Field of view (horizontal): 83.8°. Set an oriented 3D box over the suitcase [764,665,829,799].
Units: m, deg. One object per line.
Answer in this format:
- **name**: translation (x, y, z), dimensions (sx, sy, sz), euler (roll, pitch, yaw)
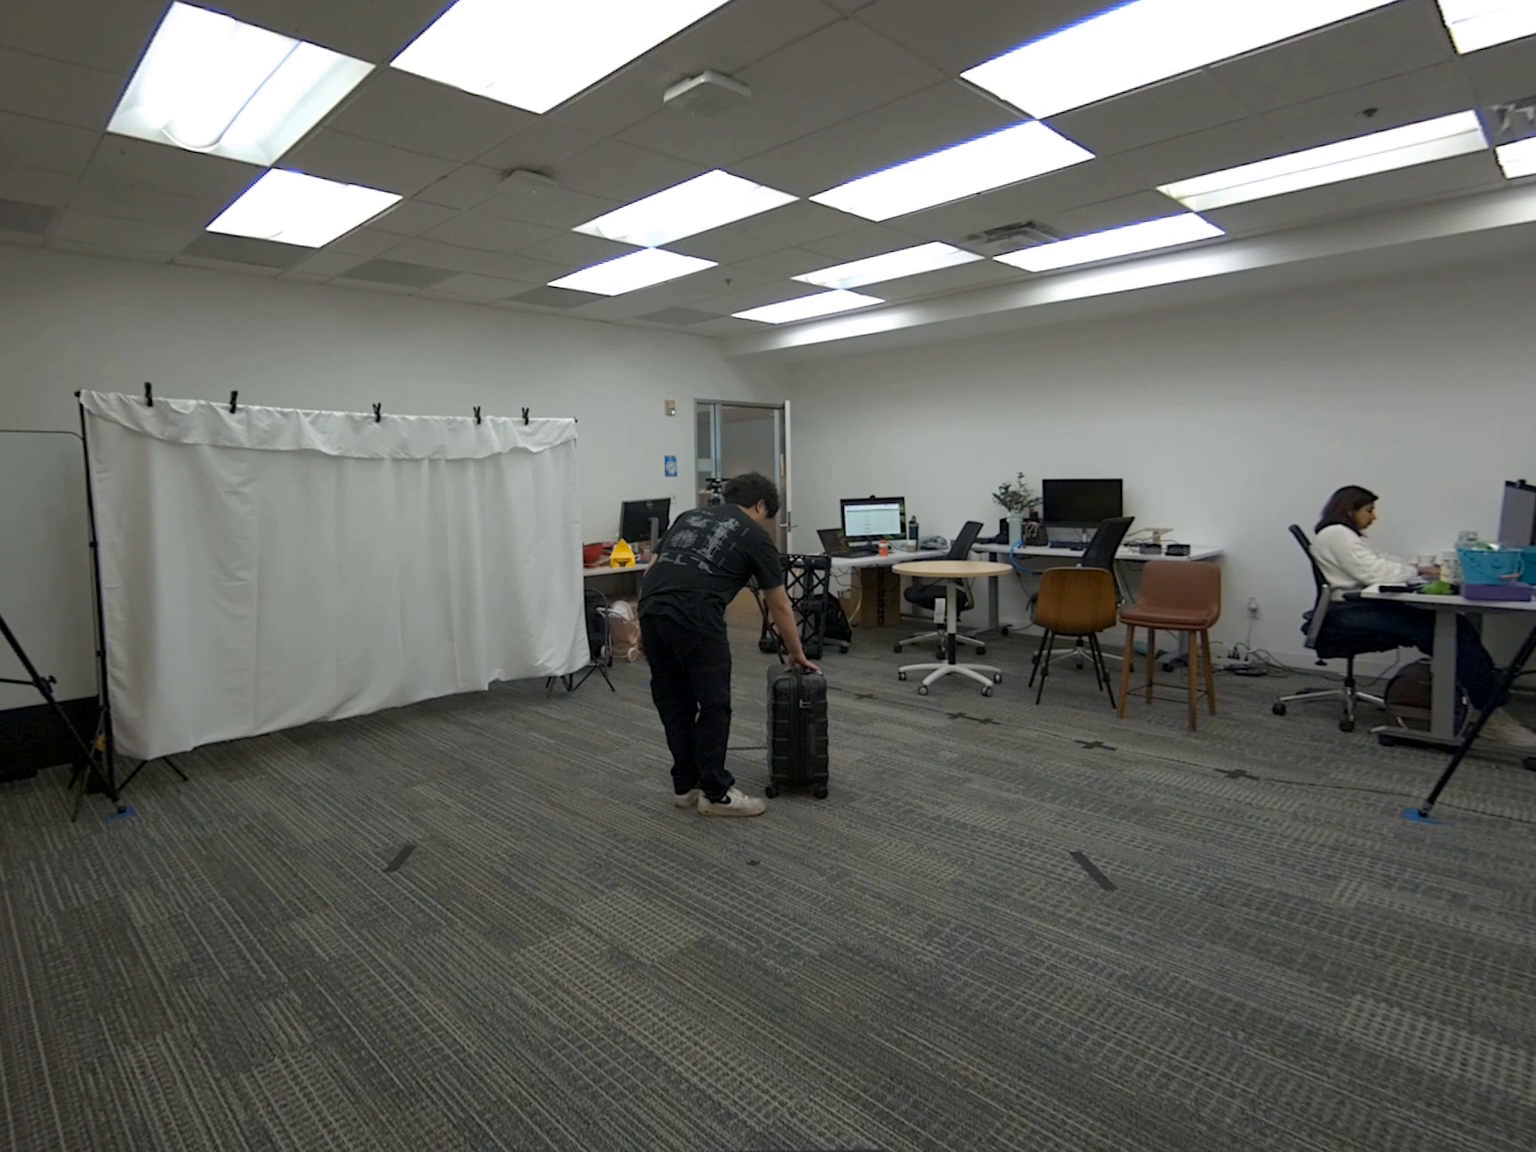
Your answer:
- **suitcase**: translation (0.127, 0.680, 3.870), dimensions (0.248, 0.547, 0.377), euler (-2, 5, -2)
